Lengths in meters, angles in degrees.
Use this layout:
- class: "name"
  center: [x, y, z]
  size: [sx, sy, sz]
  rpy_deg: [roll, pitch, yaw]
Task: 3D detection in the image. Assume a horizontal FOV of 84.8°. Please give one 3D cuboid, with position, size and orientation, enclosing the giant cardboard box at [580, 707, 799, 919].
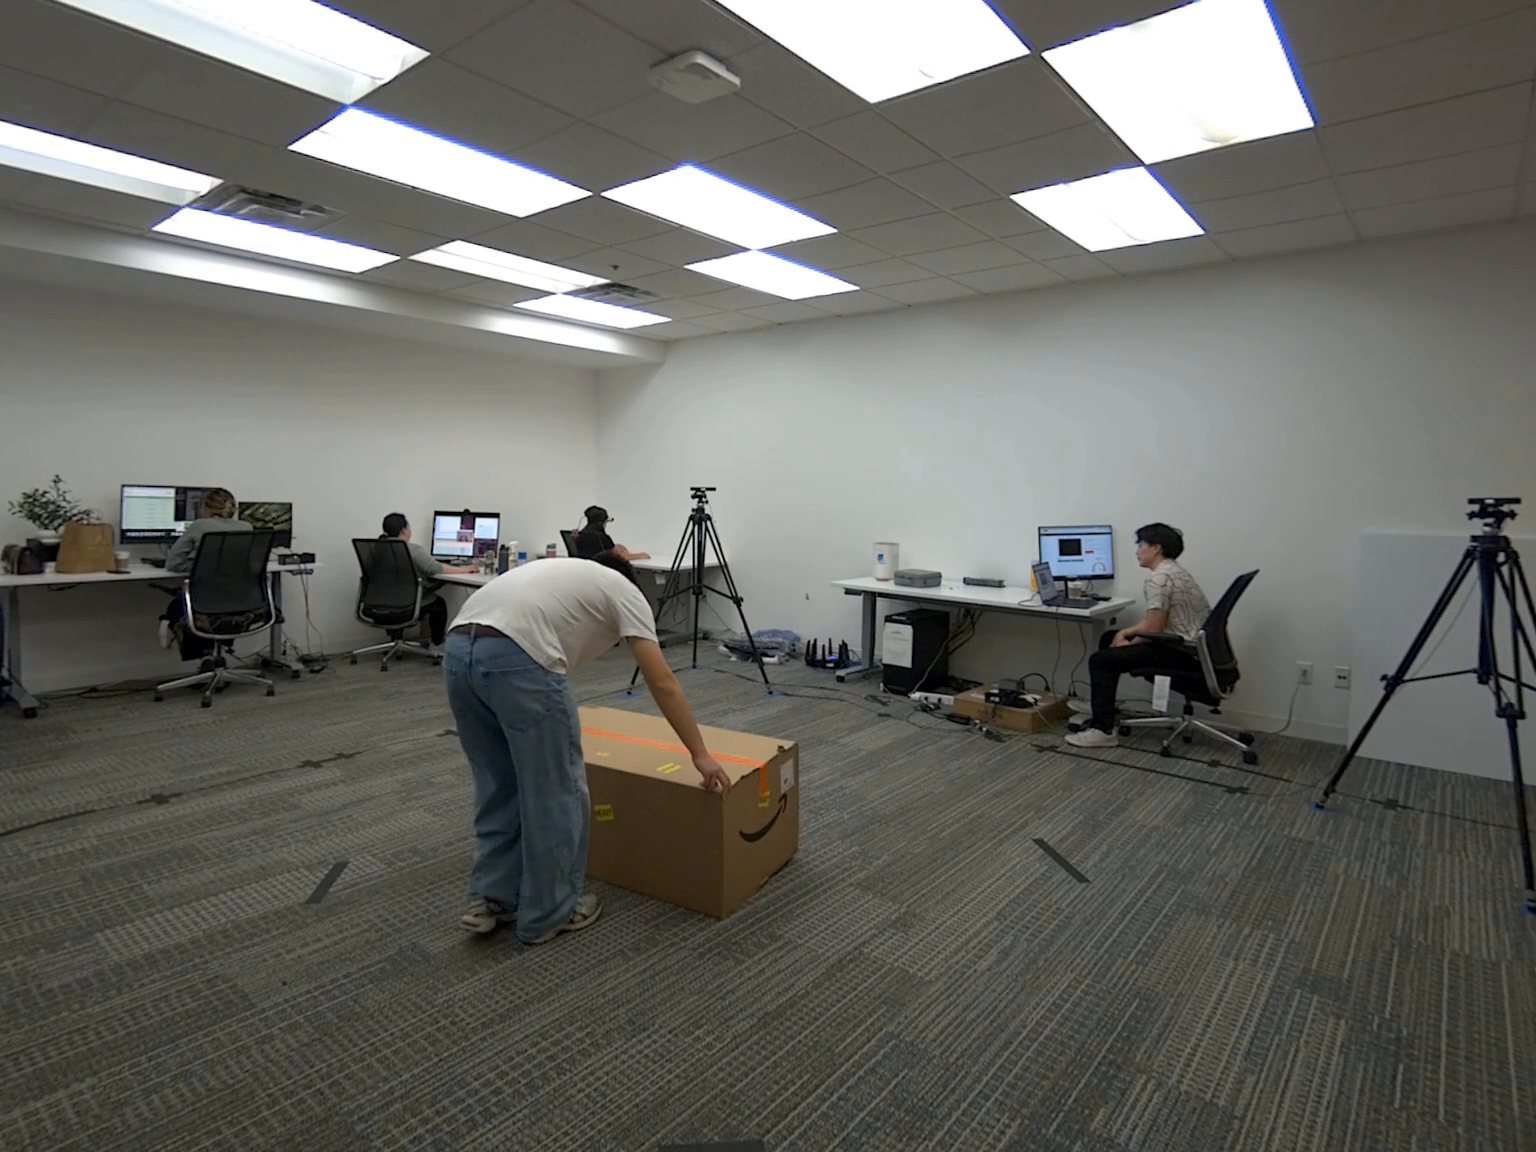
- class: "giant cardboard box"
  center: [-0.473, 0.826, 3.217]
  size: [1.056, 0.424, 0.564]
  rpy_deg: [4, 8, 30]
